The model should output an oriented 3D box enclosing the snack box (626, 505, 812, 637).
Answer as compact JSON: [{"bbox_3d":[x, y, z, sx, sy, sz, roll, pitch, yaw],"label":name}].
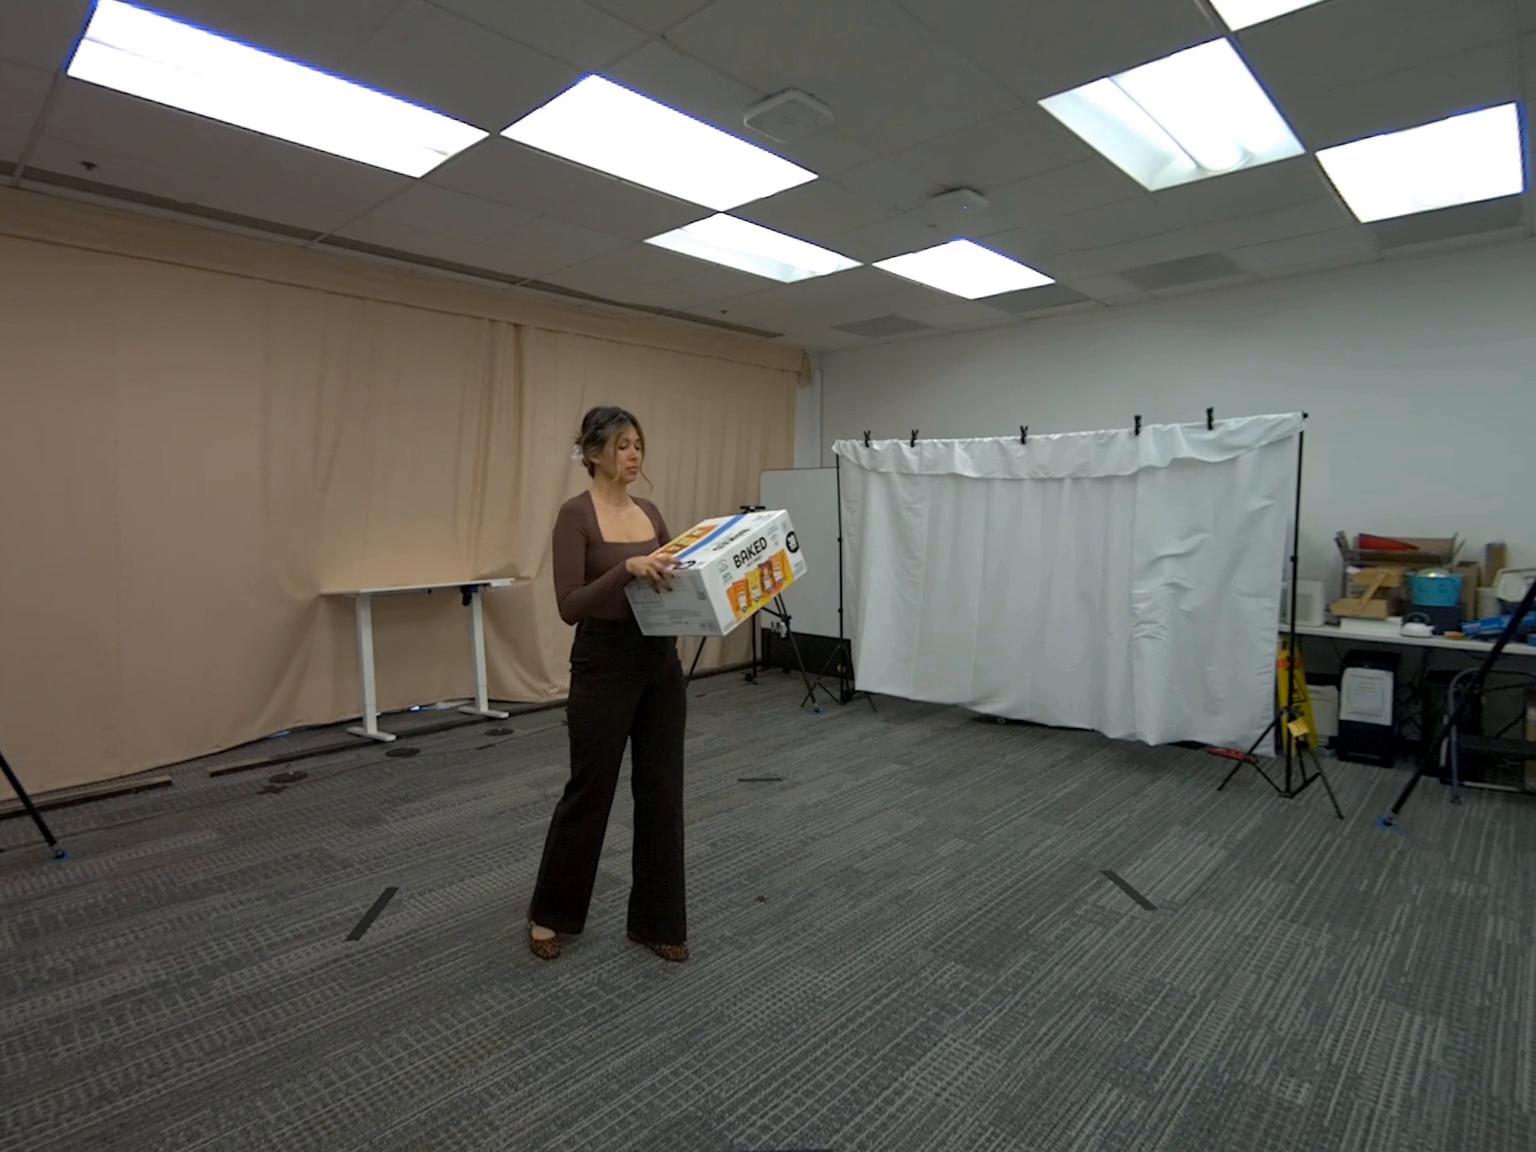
[{"bbox_3d":[-0.150,-0.015,2.449,0.351,0.203,0.399,-5,23,43],"label":"snack box"}]
